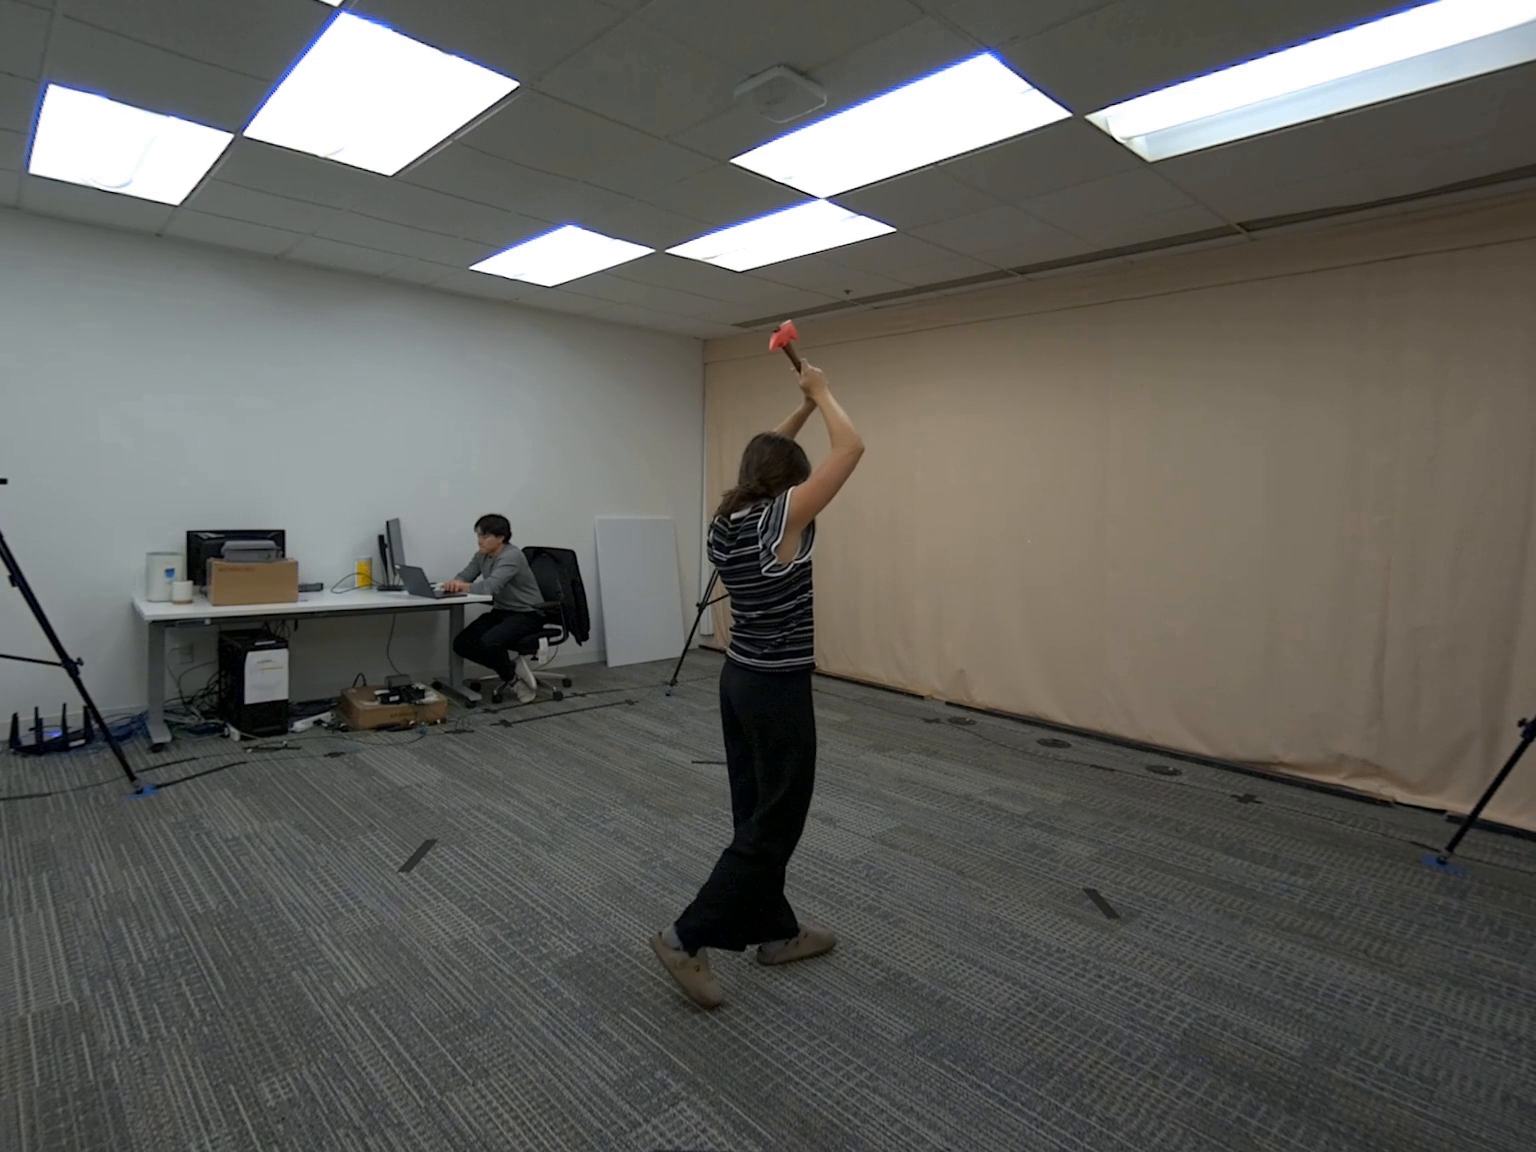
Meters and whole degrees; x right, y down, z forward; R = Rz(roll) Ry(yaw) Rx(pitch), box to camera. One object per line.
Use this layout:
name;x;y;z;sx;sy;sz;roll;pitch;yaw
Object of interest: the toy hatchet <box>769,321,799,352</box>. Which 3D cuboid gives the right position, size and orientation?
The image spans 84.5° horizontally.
toy hatchet;0.094;-0.651;2.483;0.030;0.132;0.262;-3;-24;42
